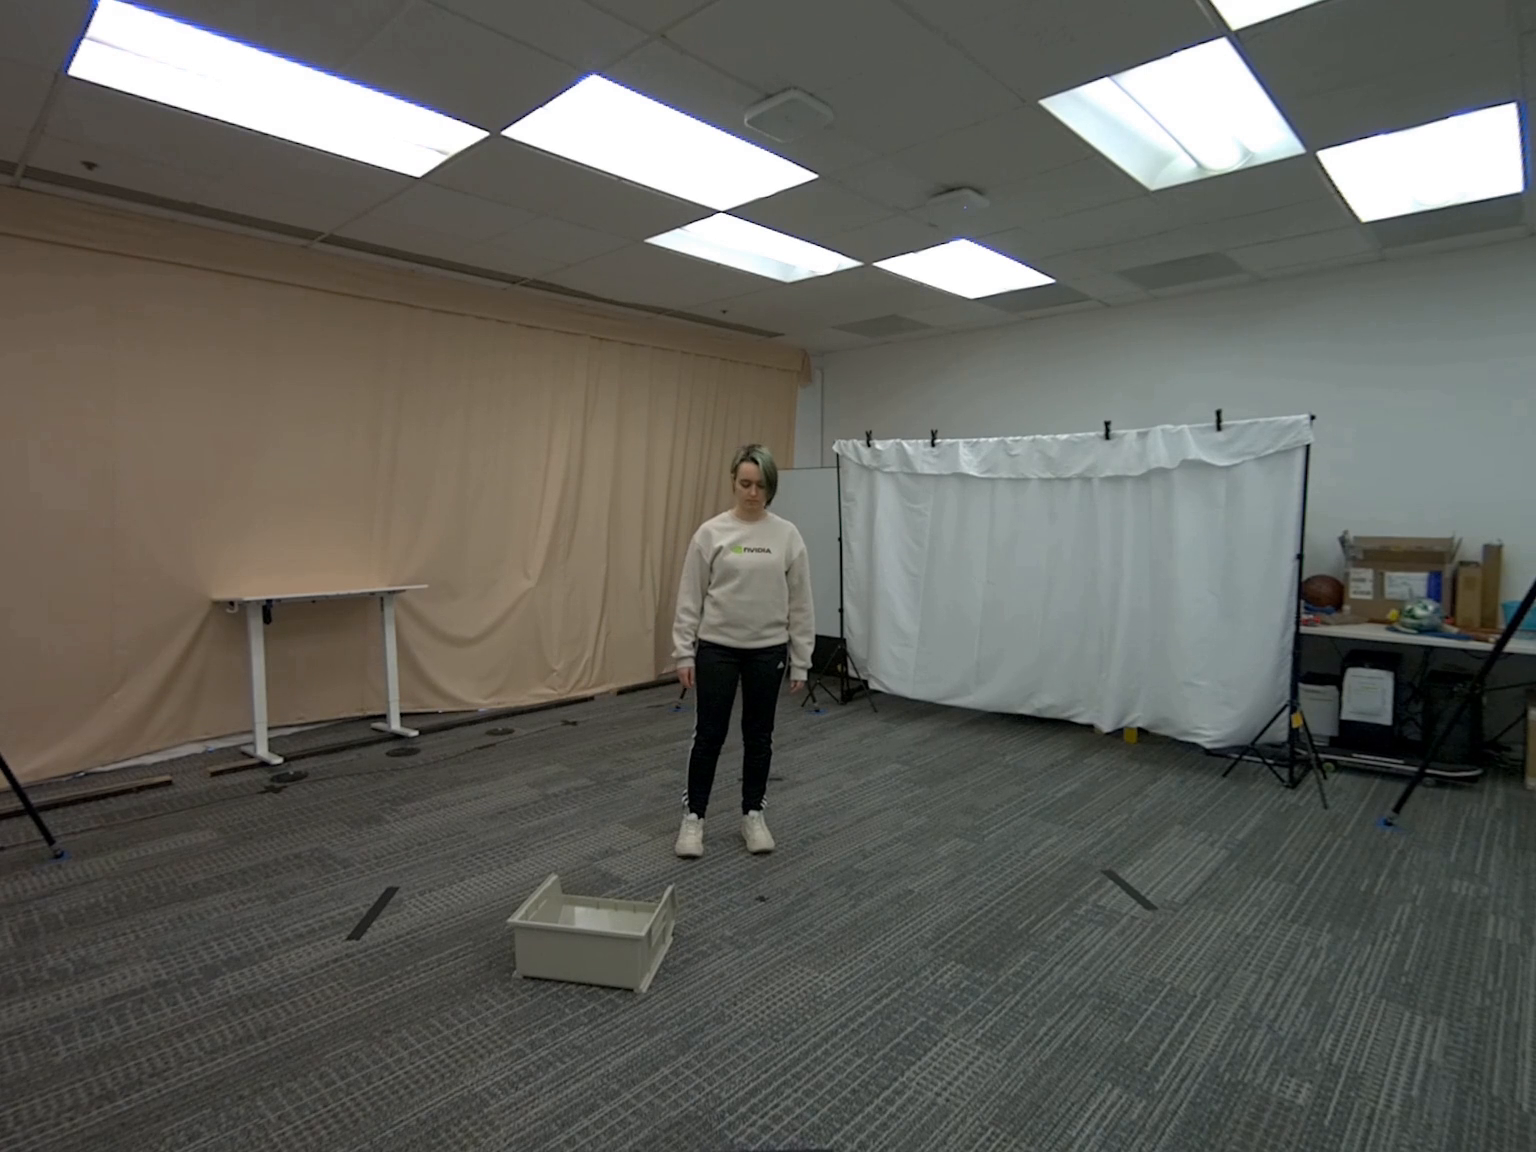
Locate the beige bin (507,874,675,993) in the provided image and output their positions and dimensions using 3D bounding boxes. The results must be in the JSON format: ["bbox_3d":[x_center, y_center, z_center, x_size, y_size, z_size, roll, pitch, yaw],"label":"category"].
[{"bbox_3d":[-0.534,1.092,2.607,0.428,0.188,0.374,1,5,11],"label":"beige bin"}]
